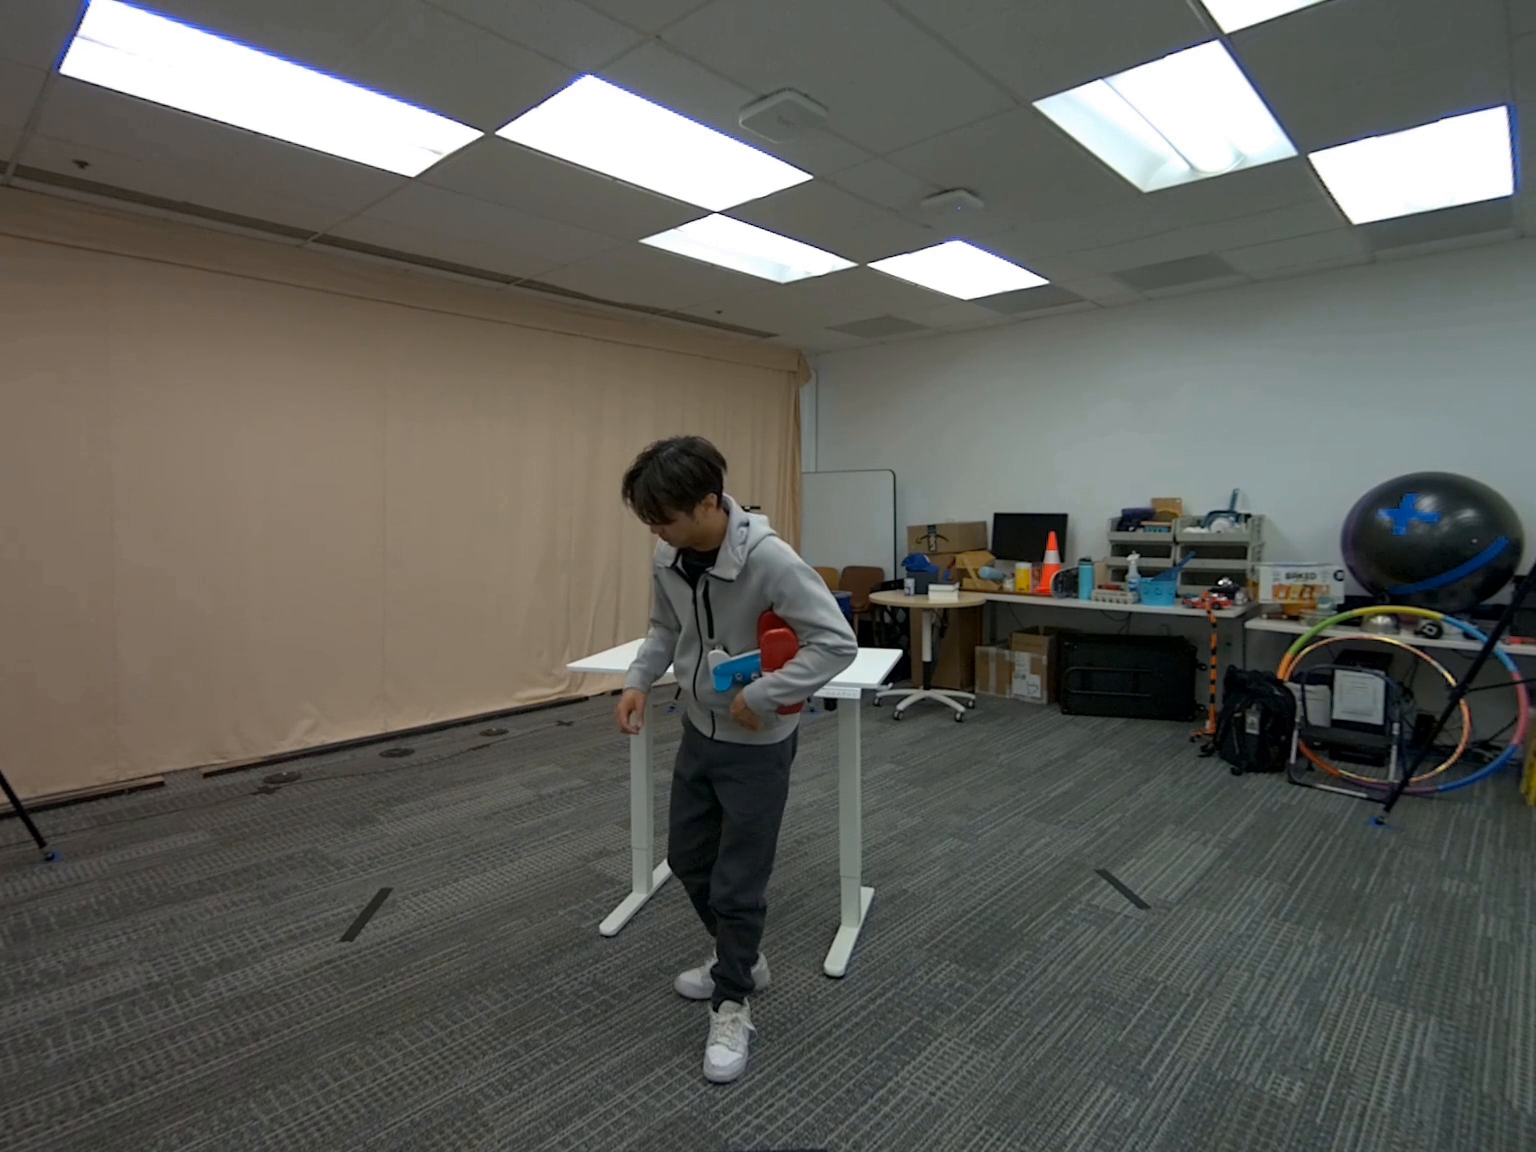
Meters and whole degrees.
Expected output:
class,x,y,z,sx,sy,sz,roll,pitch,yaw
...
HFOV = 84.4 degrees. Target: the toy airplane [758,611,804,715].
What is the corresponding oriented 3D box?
class,x,y,z,sx,sy,sz,roll,pitch,yaw
toy airplane,-0.014,0.223,2.013,0.249,0.254,0.161,-13,39,-11
